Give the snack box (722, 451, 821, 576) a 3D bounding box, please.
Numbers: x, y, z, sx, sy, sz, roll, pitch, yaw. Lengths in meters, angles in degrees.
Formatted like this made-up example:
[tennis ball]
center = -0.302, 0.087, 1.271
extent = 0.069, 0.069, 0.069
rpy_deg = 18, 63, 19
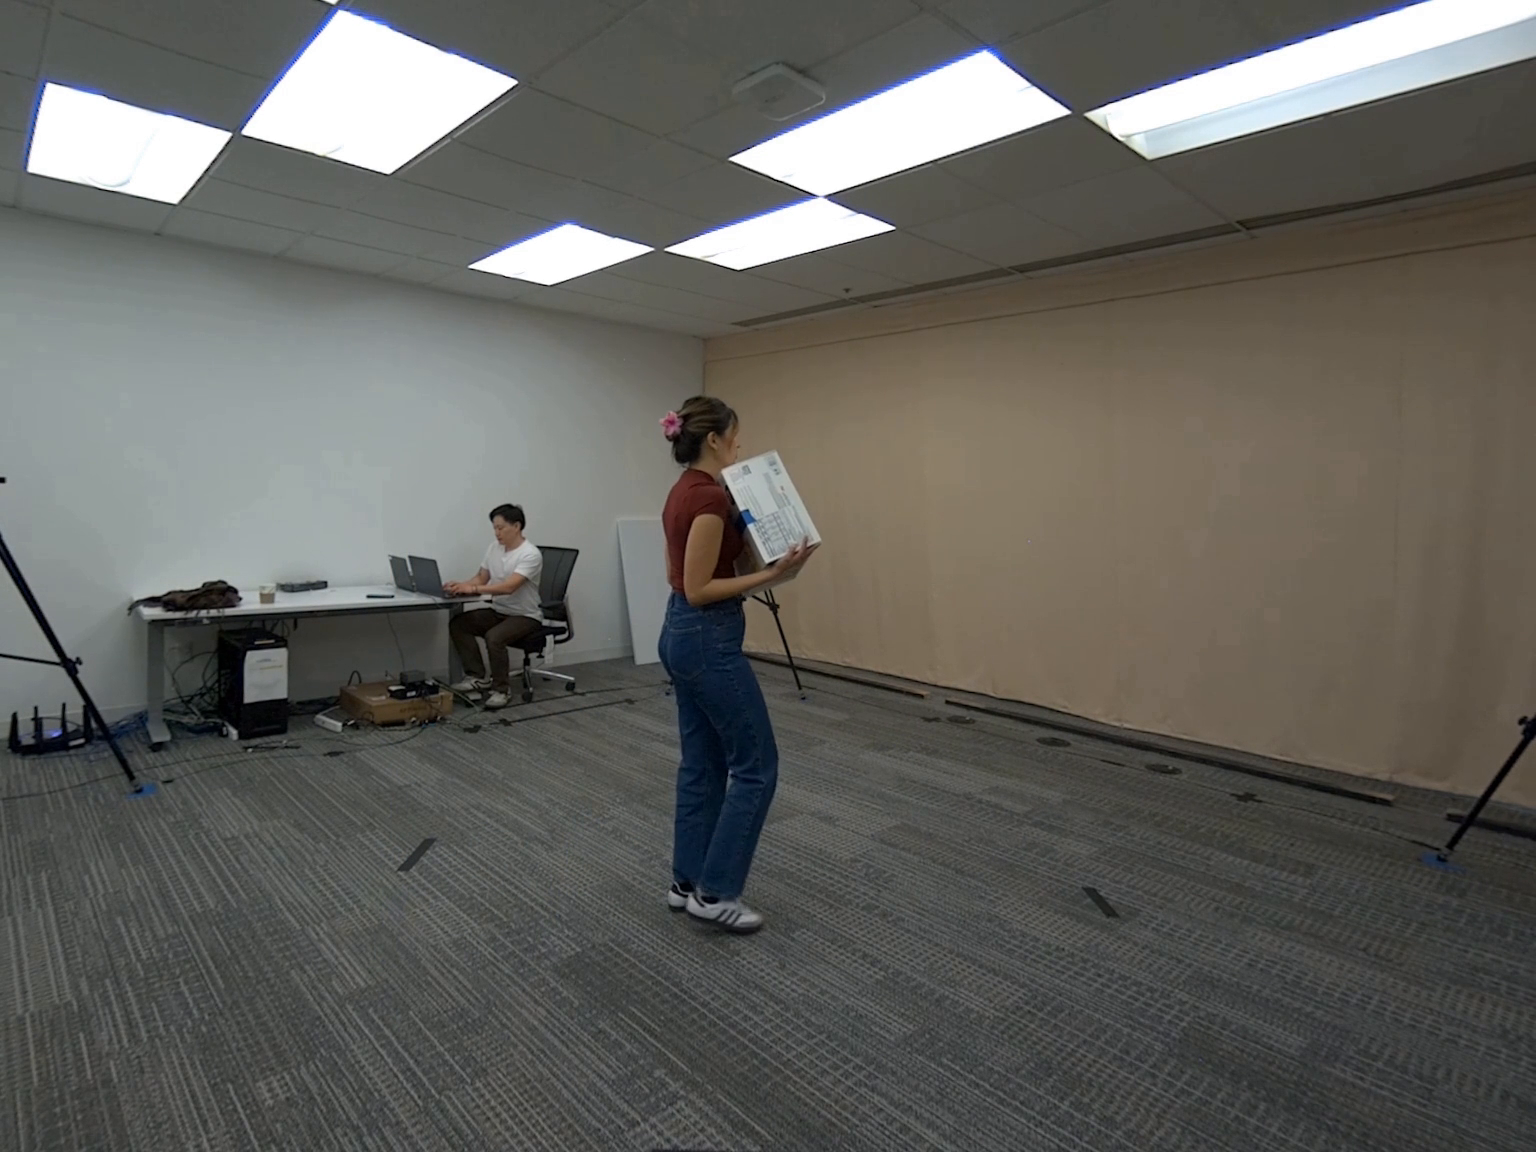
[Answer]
[snack box]
center = -0.037, -0.164, 2.838
extent = 0.204, 0.345, 0.402
rpy_deg = -22, -14, -17
